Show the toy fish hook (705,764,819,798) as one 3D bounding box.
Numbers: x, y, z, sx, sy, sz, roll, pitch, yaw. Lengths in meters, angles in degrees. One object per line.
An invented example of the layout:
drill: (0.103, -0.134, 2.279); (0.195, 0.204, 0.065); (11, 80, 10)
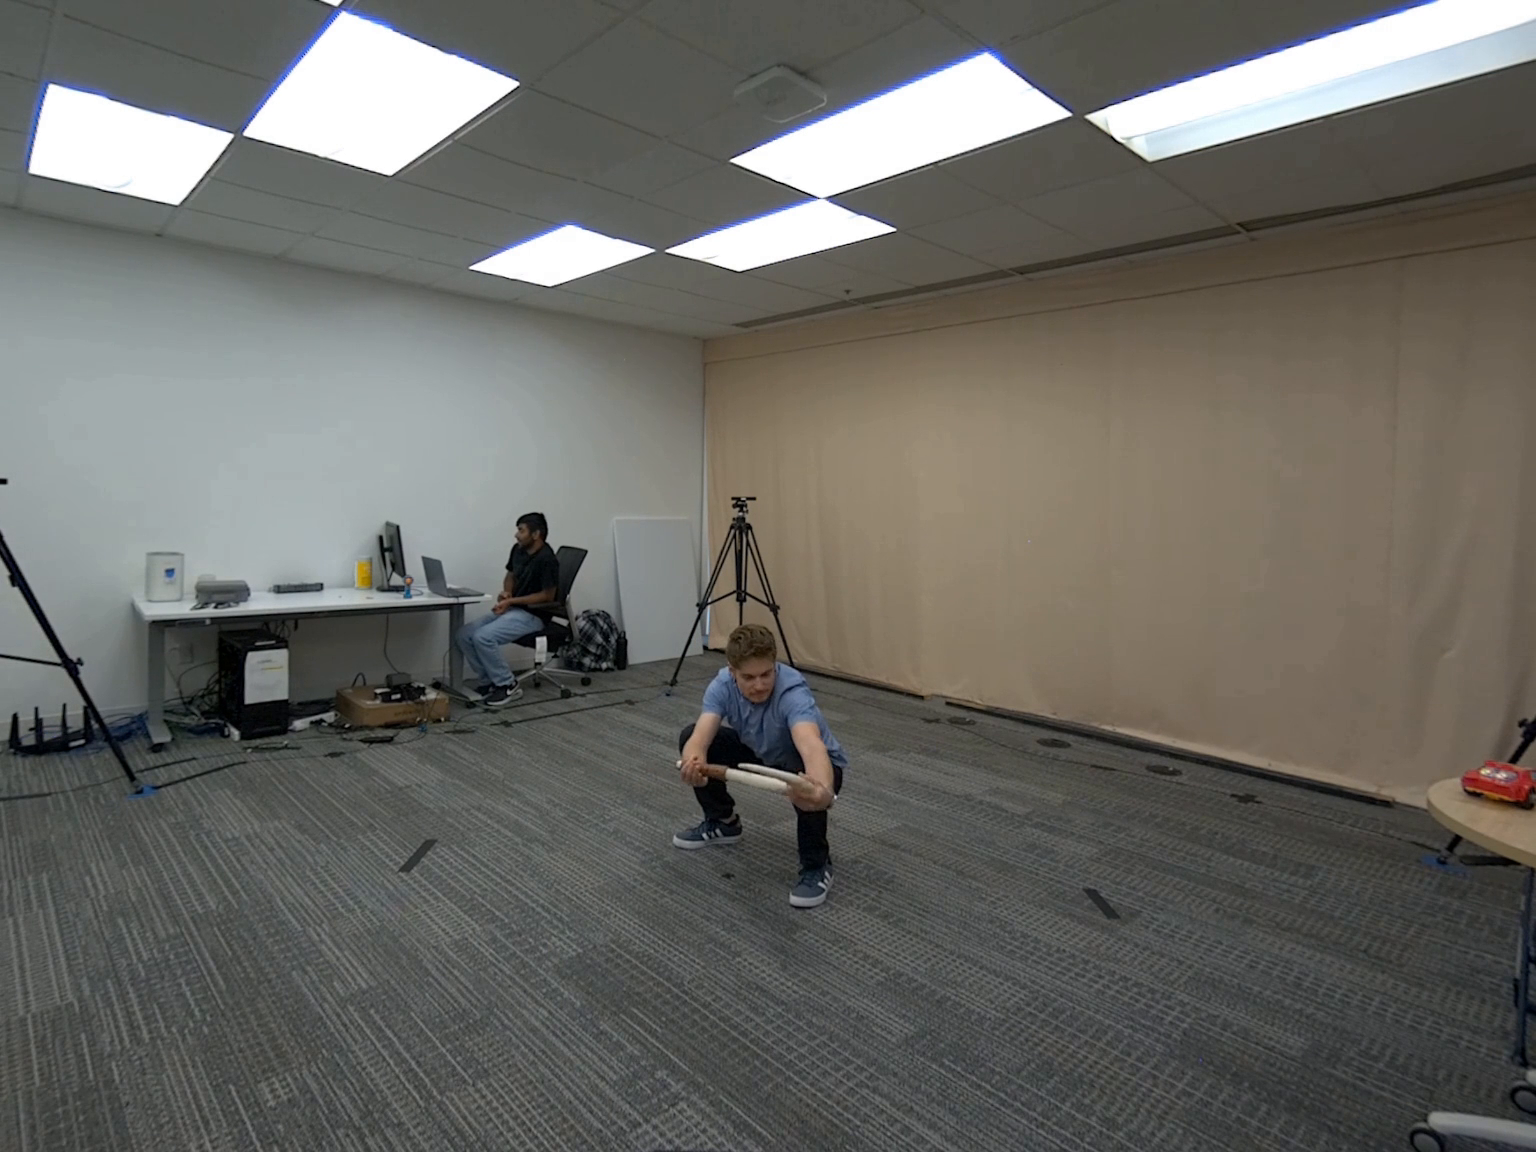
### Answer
toy fish hook: (-0.106, 0.599, 2.541); (0.517, 0.049, 0.217); (1, -30, 30)
